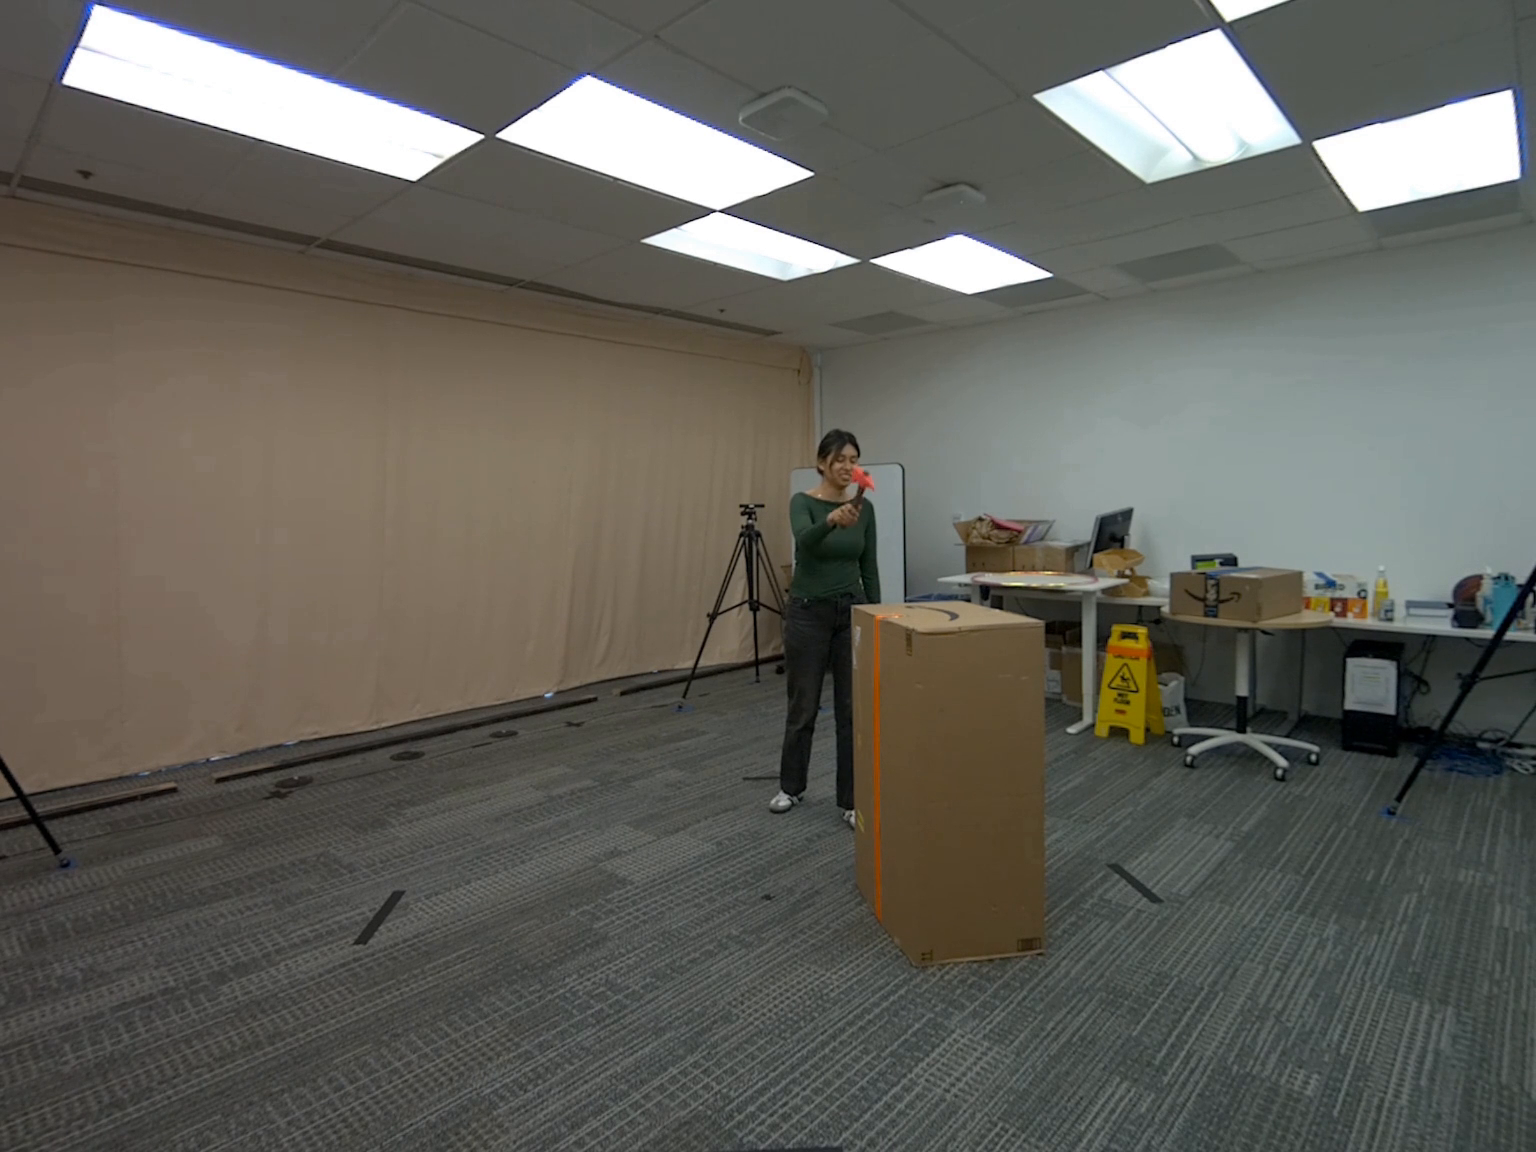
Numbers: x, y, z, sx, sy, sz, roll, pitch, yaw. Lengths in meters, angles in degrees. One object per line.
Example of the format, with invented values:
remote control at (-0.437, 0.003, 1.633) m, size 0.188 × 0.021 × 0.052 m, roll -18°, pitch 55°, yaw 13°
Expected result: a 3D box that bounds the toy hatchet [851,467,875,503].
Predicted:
toy hatchet at (0.298, -0.280, 3.055) m, size 0.029 × 0.134 × 0.270 m, roll -13°, pitch -24°, yaw -27°
